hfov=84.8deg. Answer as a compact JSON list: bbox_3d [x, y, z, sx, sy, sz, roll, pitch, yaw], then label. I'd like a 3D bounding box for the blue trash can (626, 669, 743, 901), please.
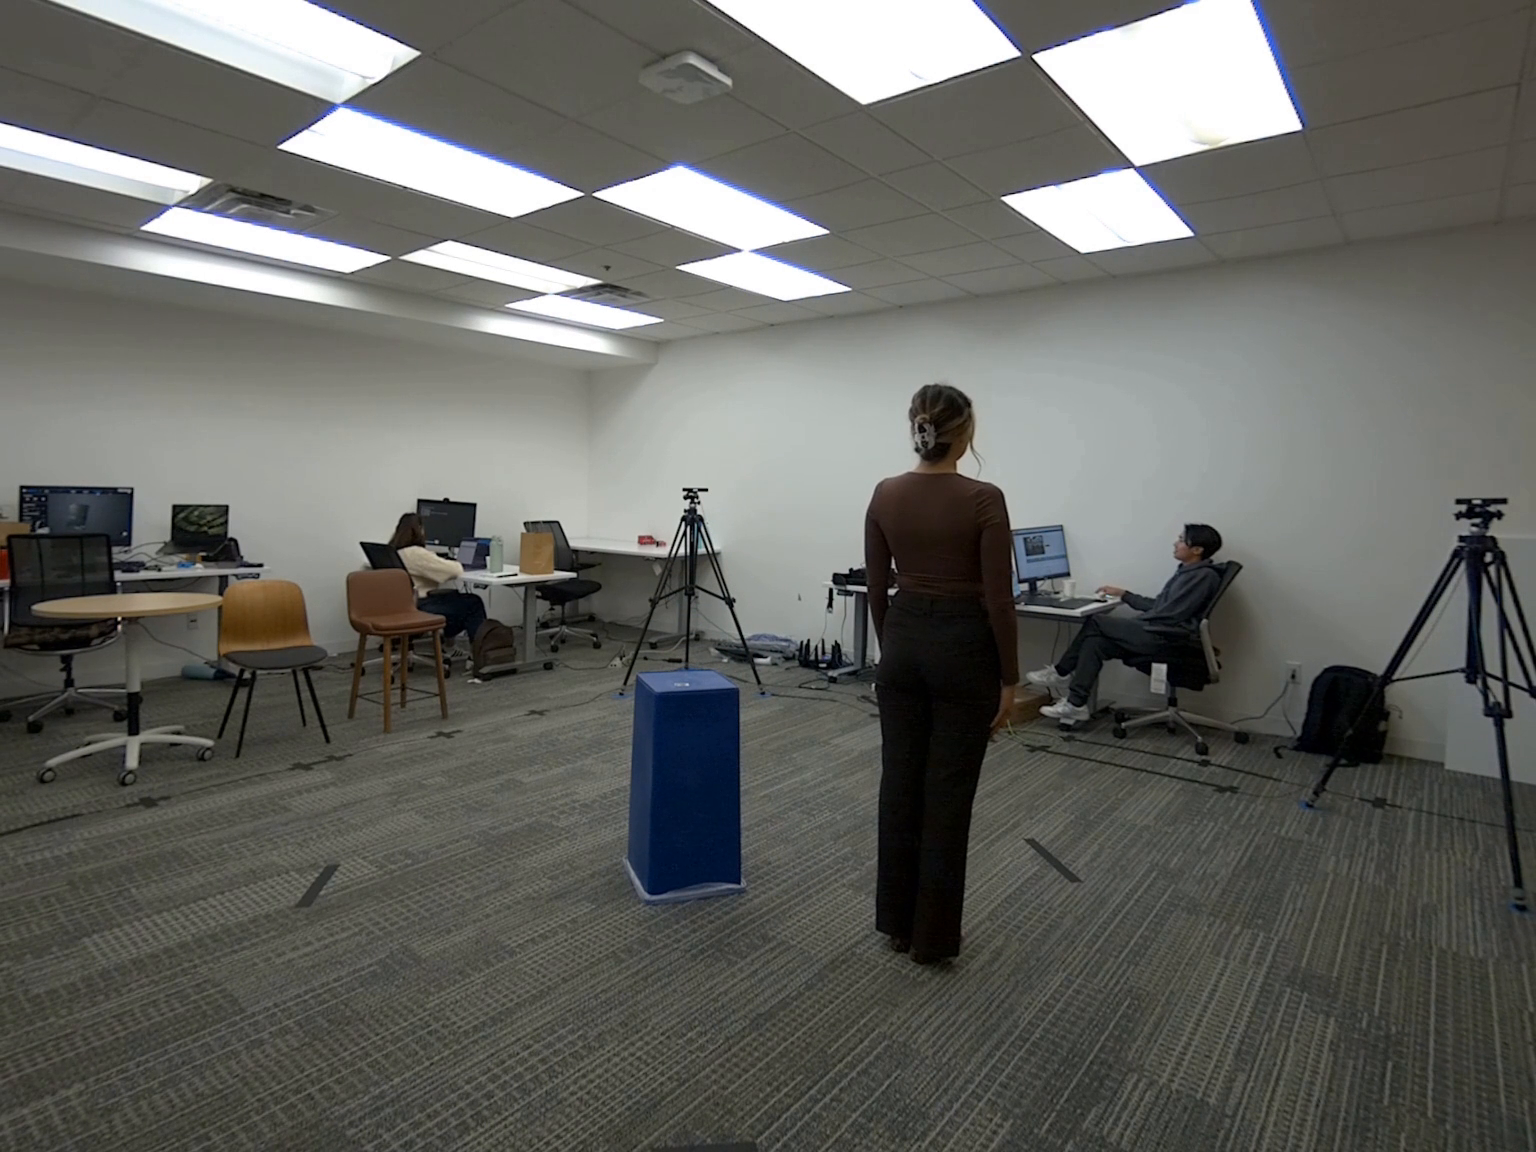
[{"bbox_3d":[-0.309,0.721,3.026,0.370,0.711,0.383,0,4,-21],"label":"blue trash can"}]
